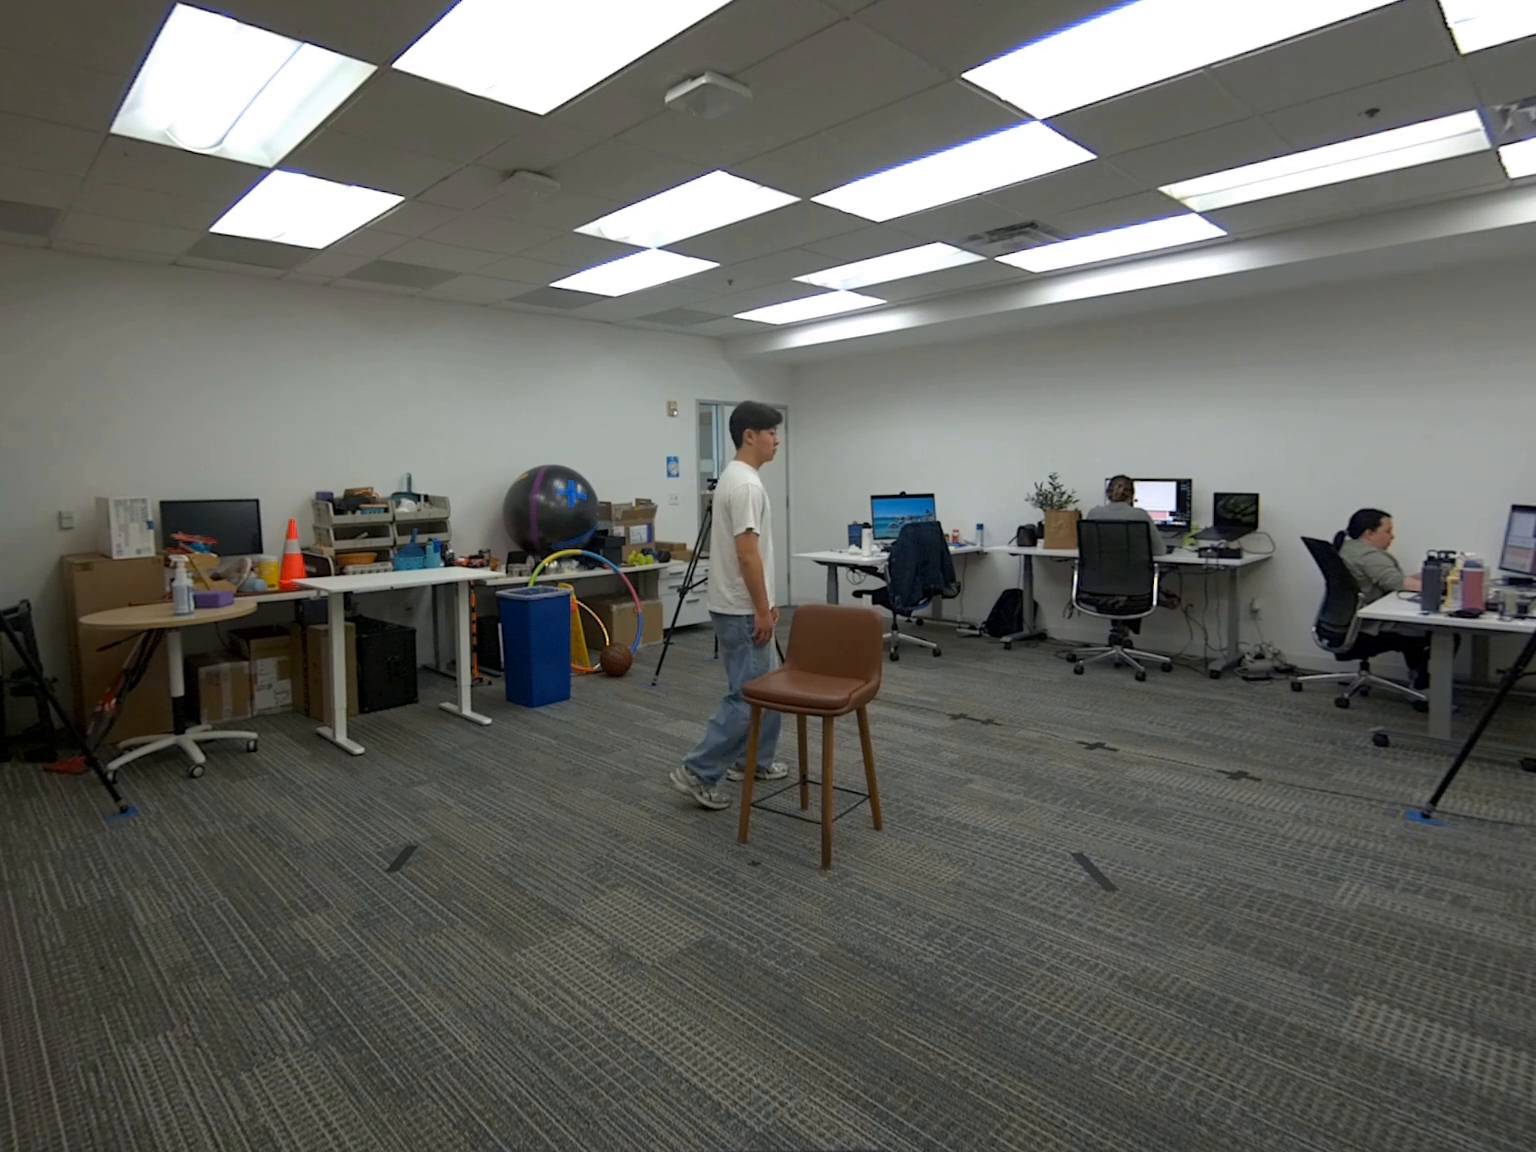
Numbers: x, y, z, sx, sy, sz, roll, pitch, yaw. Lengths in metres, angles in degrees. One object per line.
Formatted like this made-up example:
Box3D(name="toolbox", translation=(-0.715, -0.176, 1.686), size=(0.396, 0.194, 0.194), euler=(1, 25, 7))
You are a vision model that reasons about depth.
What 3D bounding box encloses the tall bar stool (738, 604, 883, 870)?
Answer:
Box3D(name="tall bar stool", translation=(0.181, 0.584, 3.314), size=(0.470, 0.888, 0.455), euler=(2, 3, 37))
